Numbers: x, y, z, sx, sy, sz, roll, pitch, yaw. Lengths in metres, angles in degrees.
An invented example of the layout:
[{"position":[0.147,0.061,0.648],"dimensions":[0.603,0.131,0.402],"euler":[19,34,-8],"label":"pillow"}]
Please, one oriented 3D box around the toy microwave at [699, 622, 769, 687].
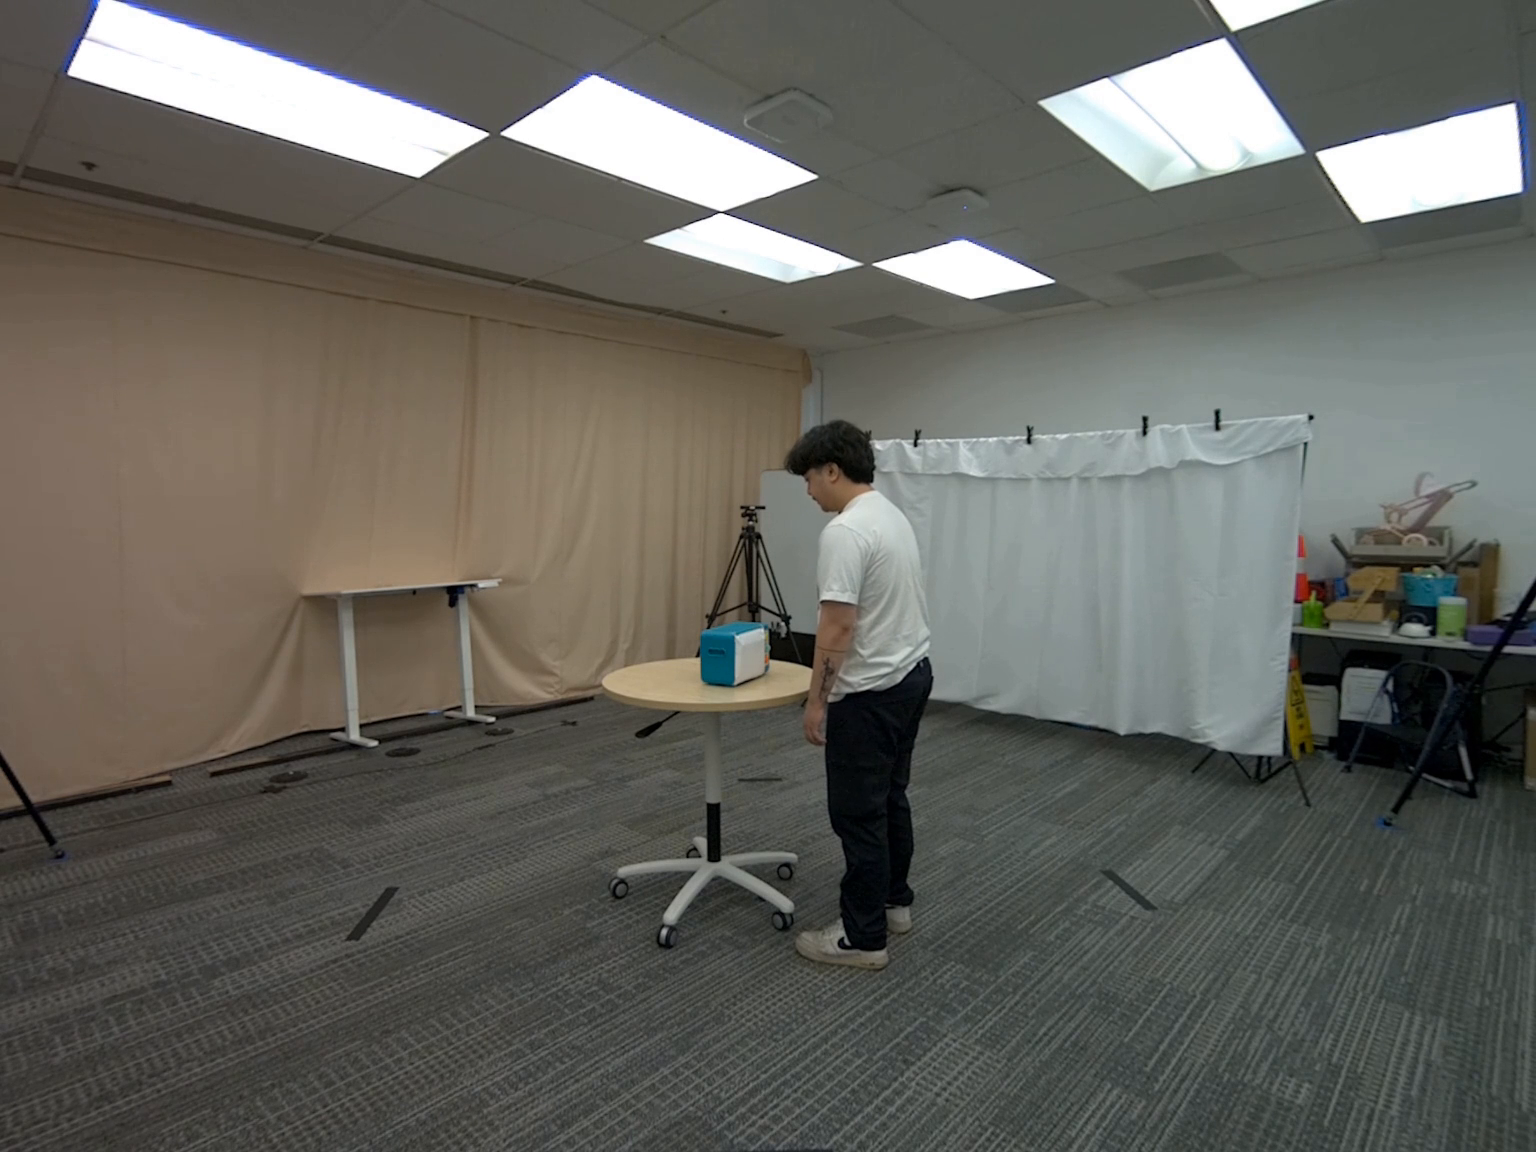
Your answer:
[{"position":[-0.102,0.265,2.903],"dimensions":[0.157,0.184,0.279],"euler":[2,5,28],"label":"toy microwave"}]
